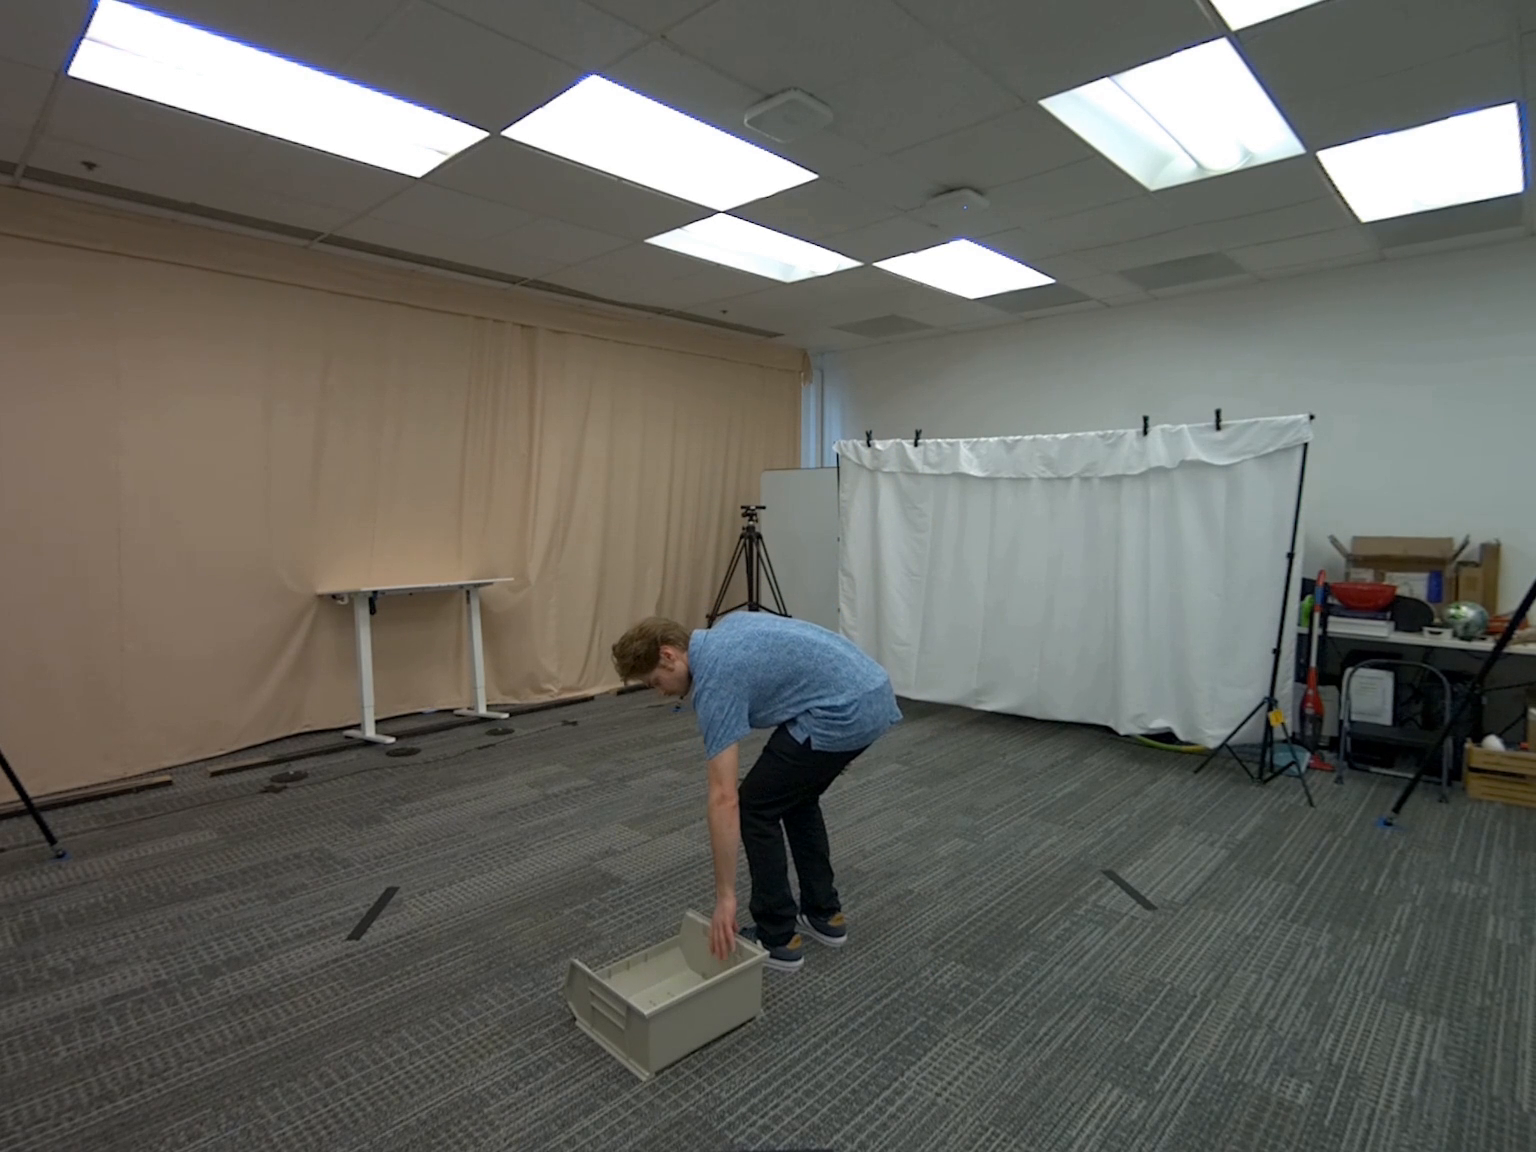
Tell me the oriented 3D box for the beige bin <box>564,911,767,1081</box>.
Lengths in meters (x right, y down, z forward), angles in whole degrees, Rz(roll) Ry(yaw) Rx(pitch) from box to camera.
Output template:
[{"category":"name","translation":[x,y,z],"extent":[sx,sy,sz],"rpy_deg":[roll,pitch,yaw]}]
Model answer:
[{"category":"beige bin","translation":[-0.277,1.114,2.294],"extent":[0.409,0.188,0.390],"rpy_deg":[-3,7,-43]}]
